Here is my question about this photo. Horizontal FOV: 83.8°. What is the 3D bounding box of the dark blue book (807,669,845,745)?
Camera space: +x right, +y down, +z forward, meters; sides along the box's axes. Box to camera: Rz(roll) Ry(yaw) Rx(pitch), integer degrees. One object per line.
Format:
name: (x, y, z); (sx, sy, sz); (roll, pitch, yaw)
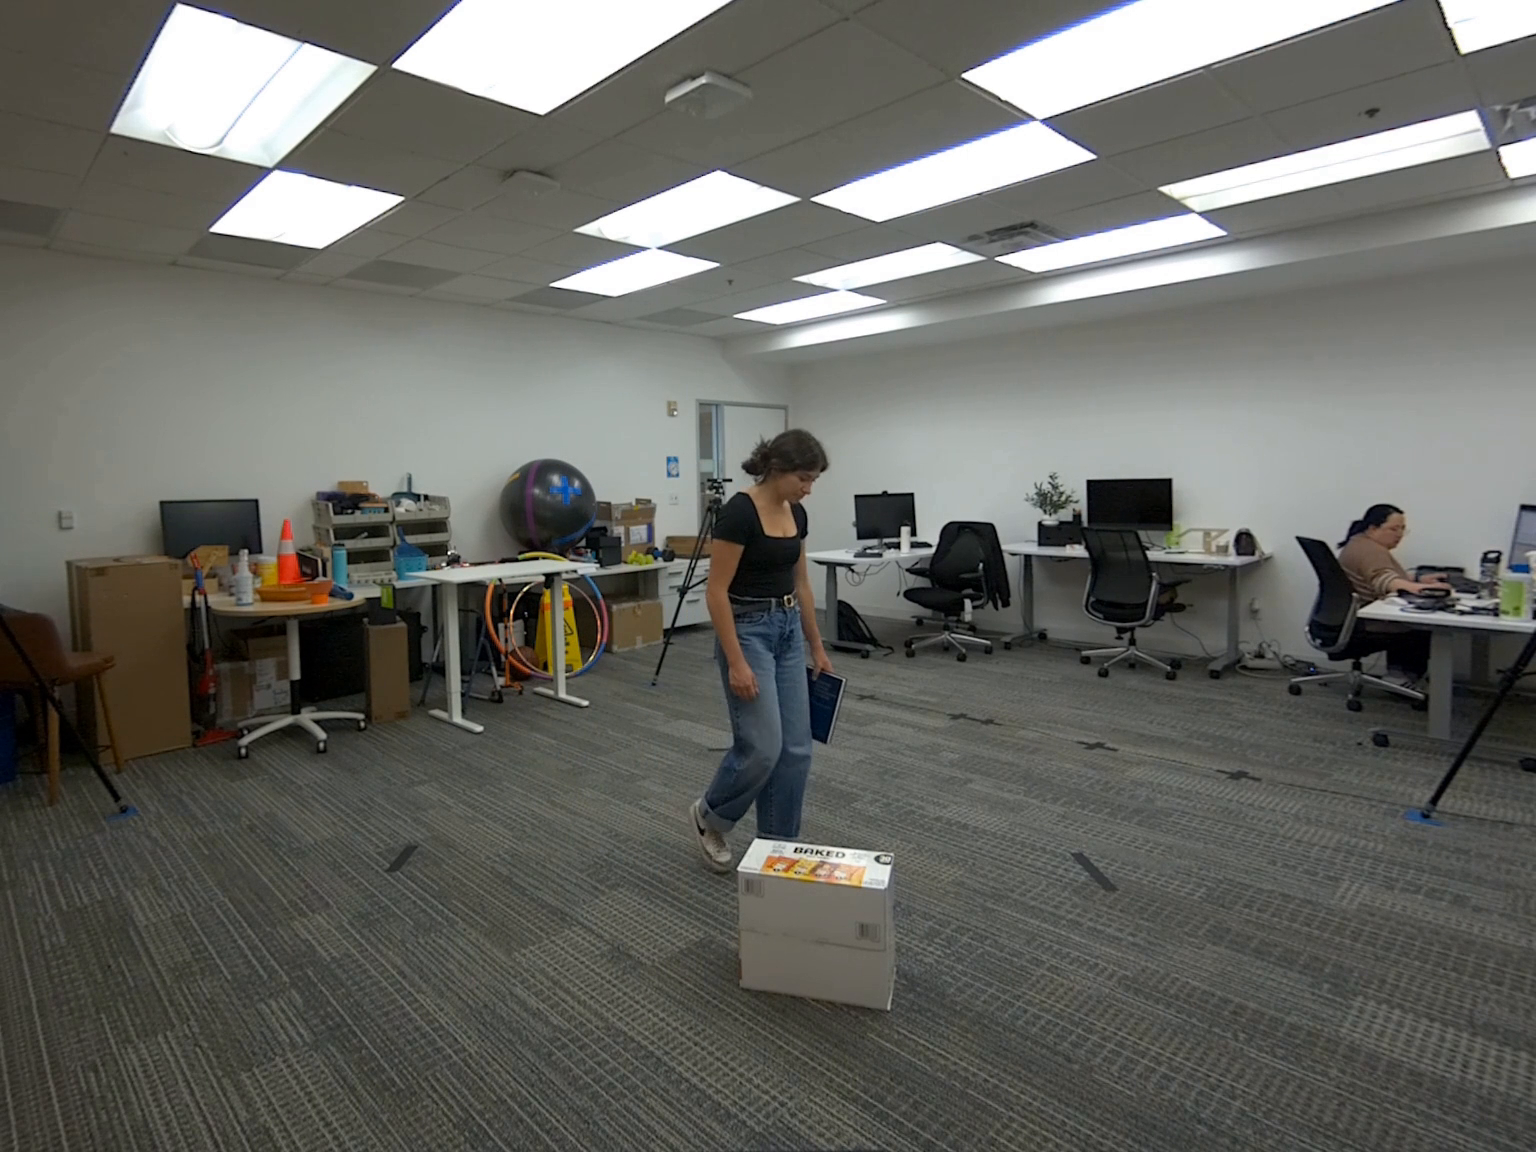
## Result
dark blue book: (0.182, 0.465, 3.106); (0.168, 0.244, 0.044); (14, 4, 28)
